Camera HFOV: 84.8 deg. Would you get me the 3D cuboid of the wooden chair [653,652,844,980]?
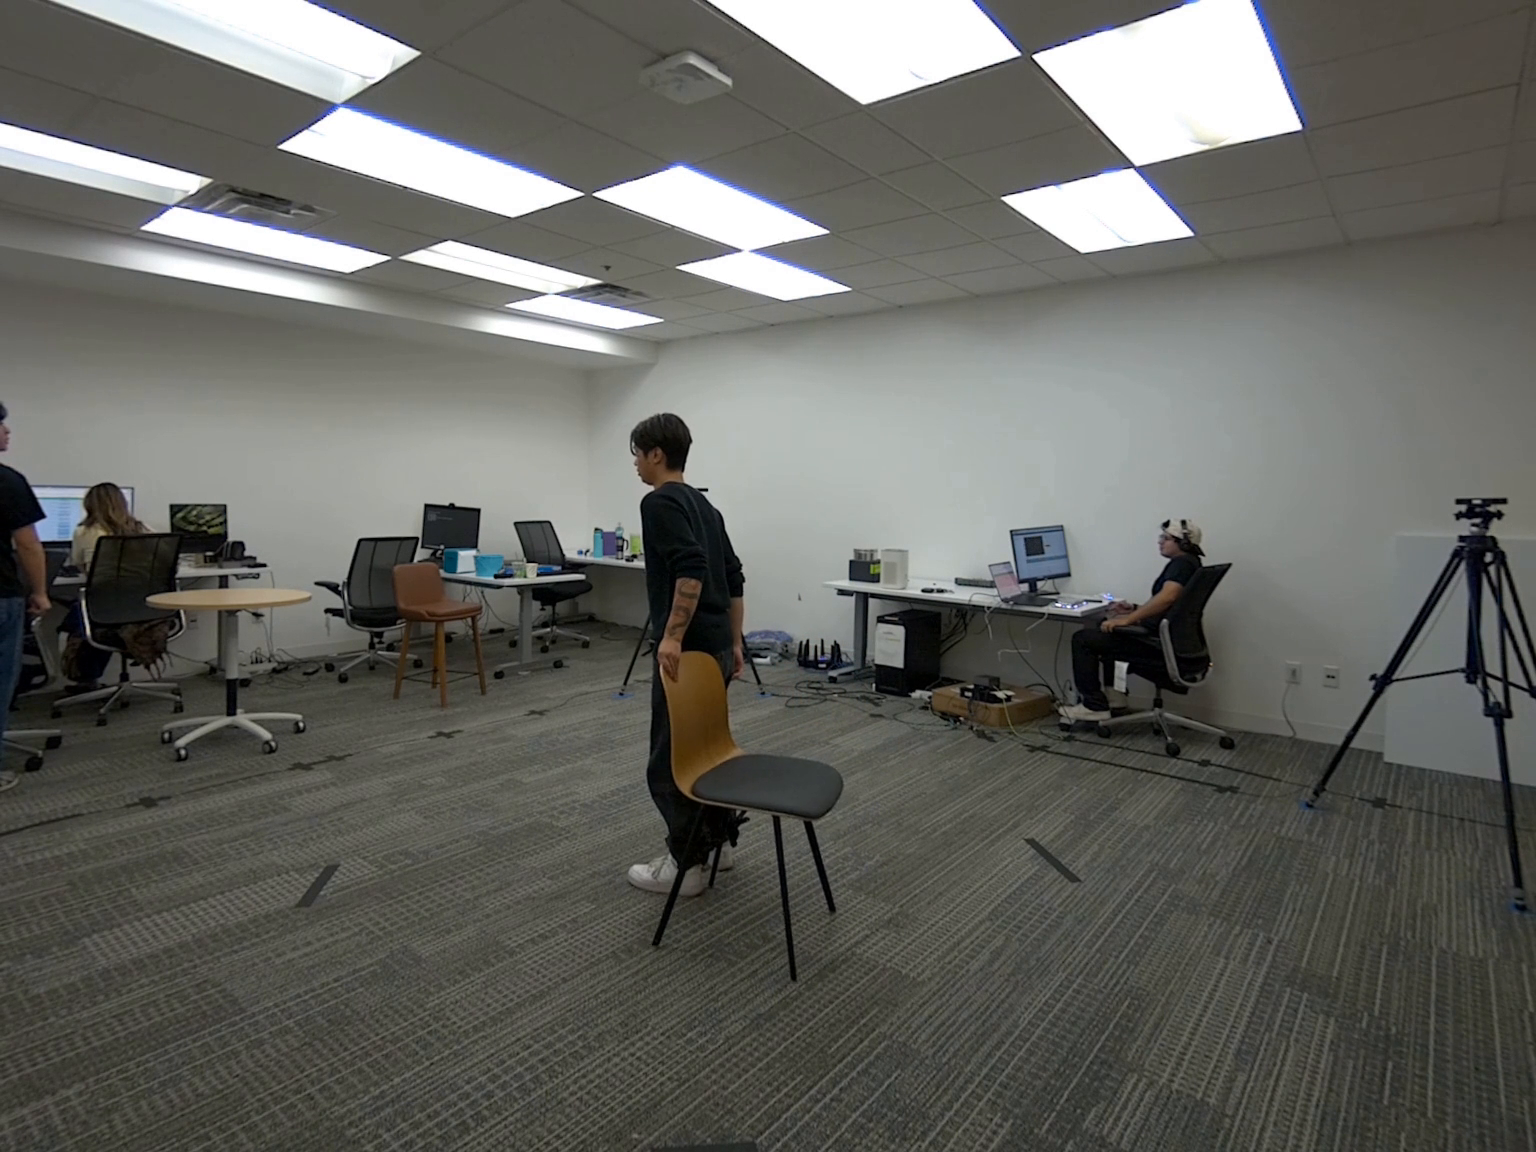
[{"bbox_3d":[-0.048,0.686,2.668,0.534,0.876,0.469,-2,1,20],"label":"wooden chair"}]
